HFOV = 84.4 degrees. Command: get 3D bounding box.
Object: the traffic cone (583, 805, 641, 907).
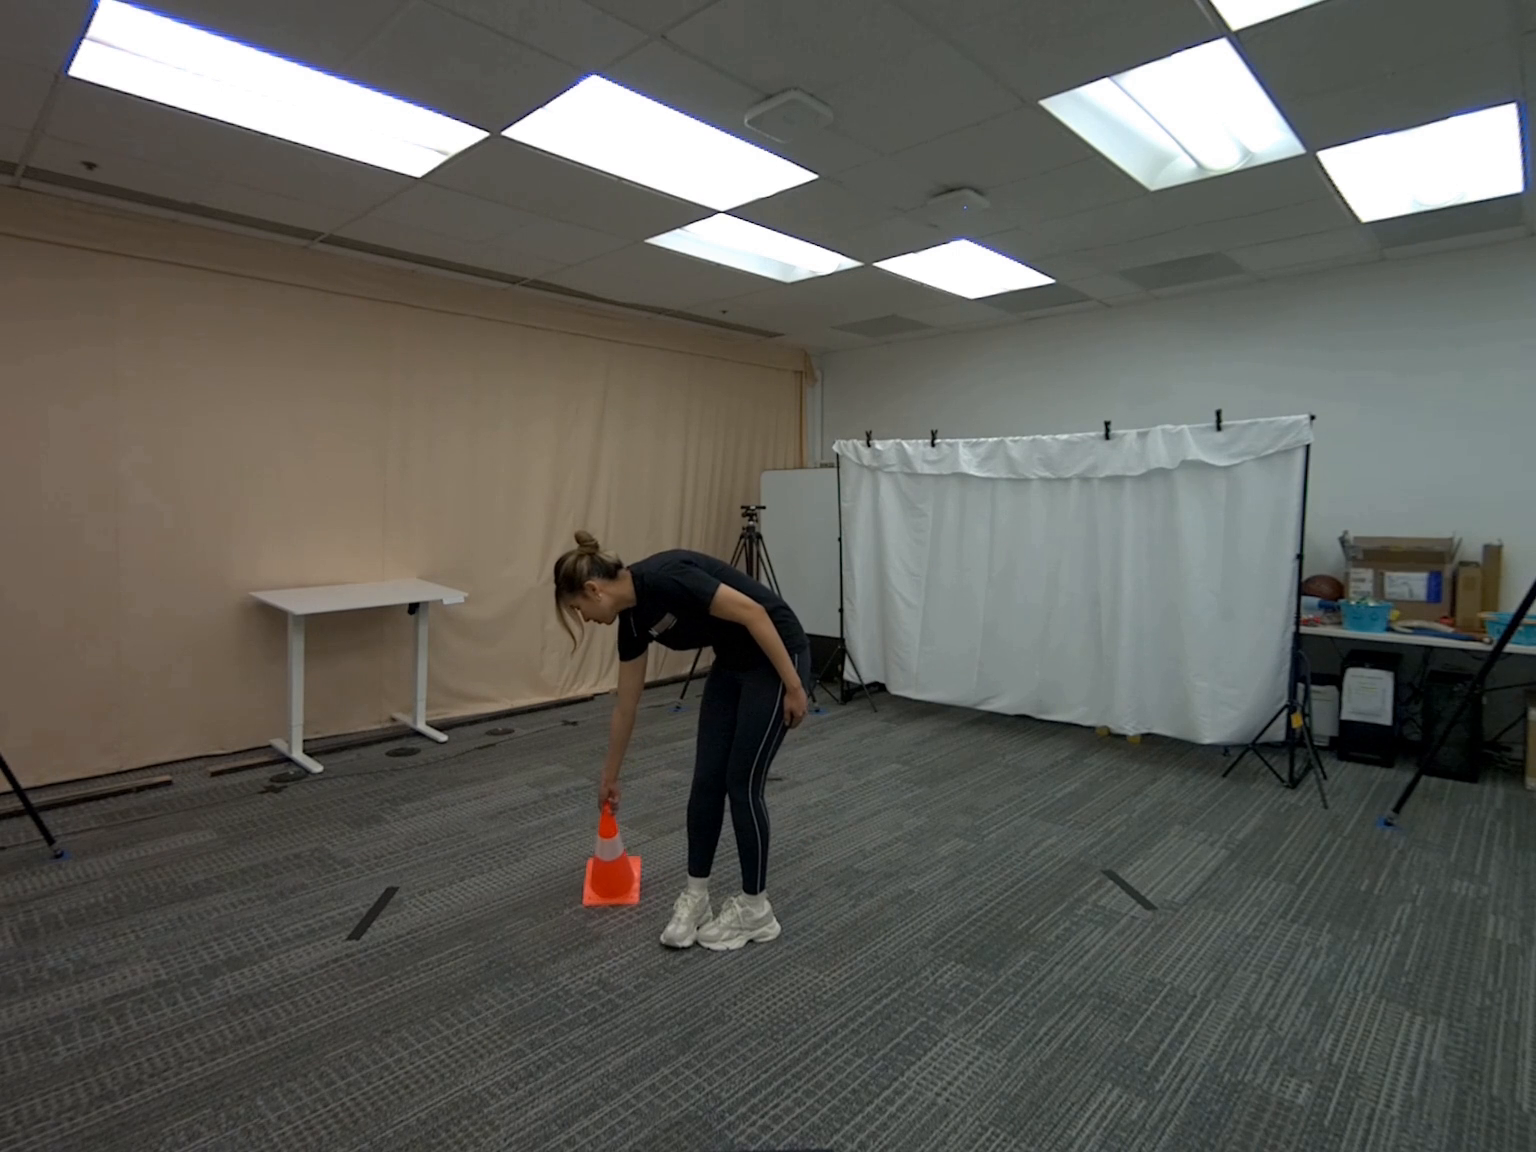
[{"bbox_3d":[-0.556,0.944,2.933,0.203,0.377,0.208,-1,31,-1],"label":"traffic cone"}]
